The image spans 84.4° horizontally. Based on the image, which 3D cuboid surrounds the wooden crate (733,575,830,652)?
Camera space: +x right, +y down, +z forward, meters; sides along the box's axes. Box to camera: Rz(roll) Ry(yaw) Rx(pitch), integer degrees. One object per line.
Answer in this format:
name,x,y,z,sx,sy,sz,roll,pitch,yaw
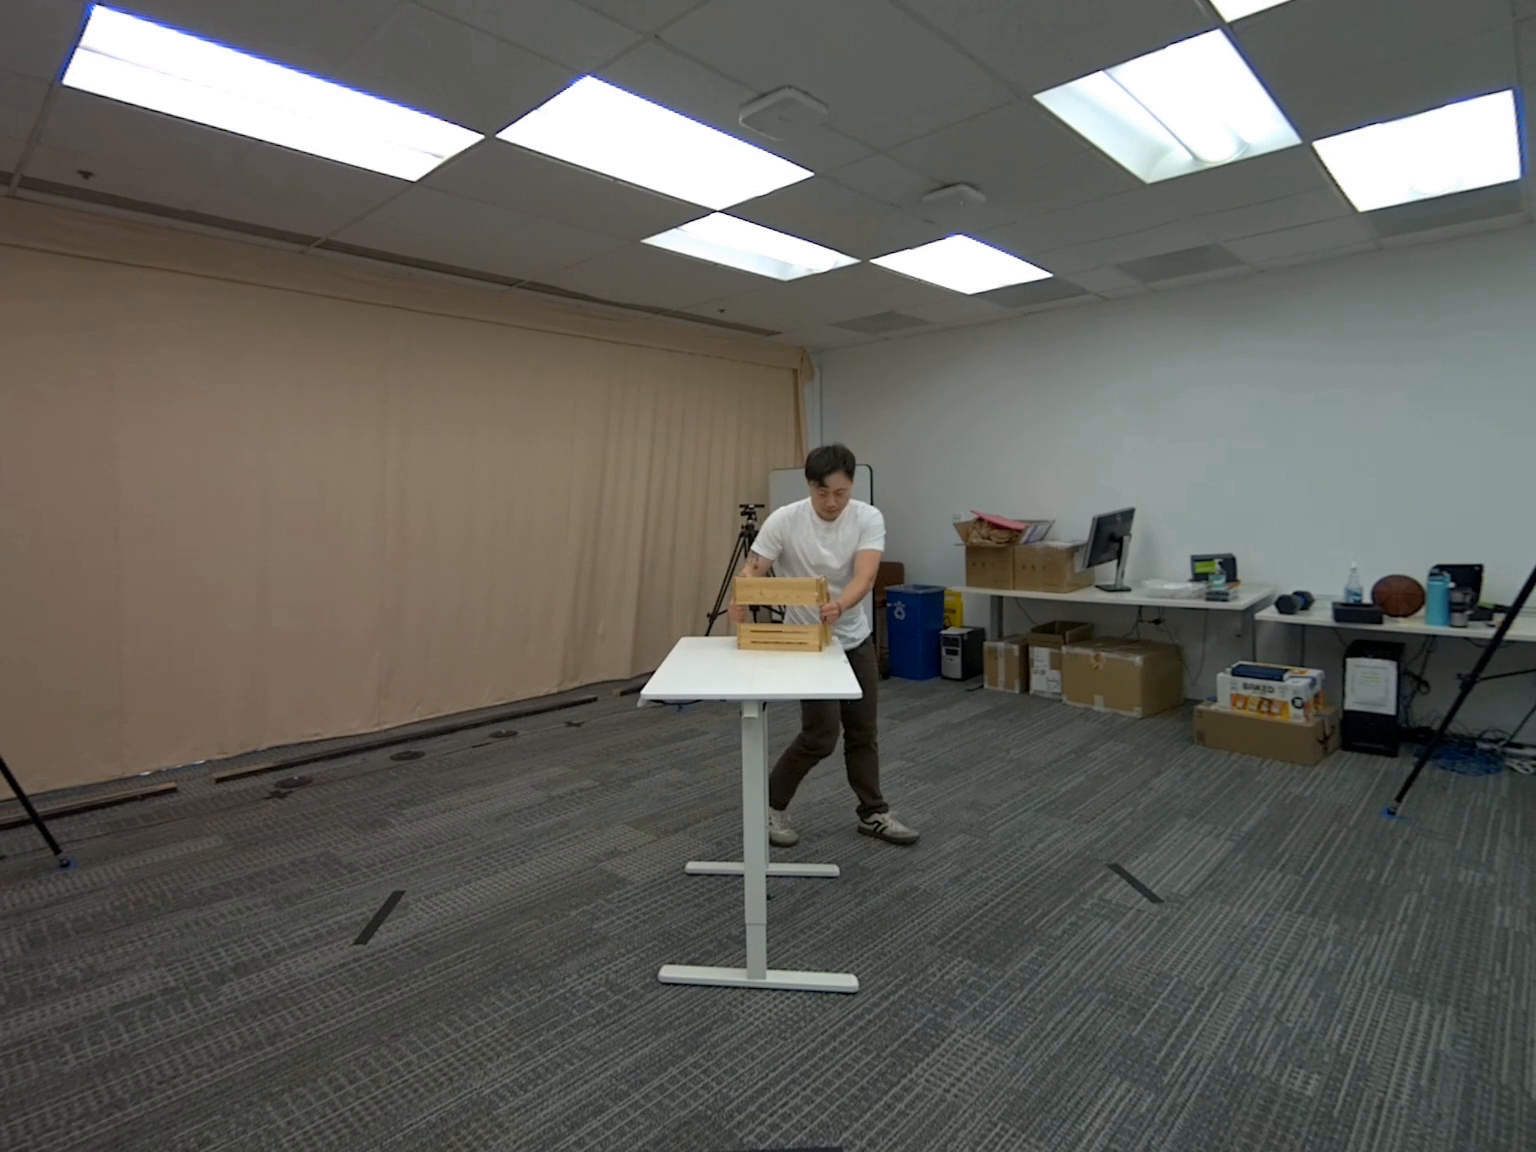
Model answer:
wooden crate,0.061,0.128,3.037,0.329,0.273,0.298,0,4,13
